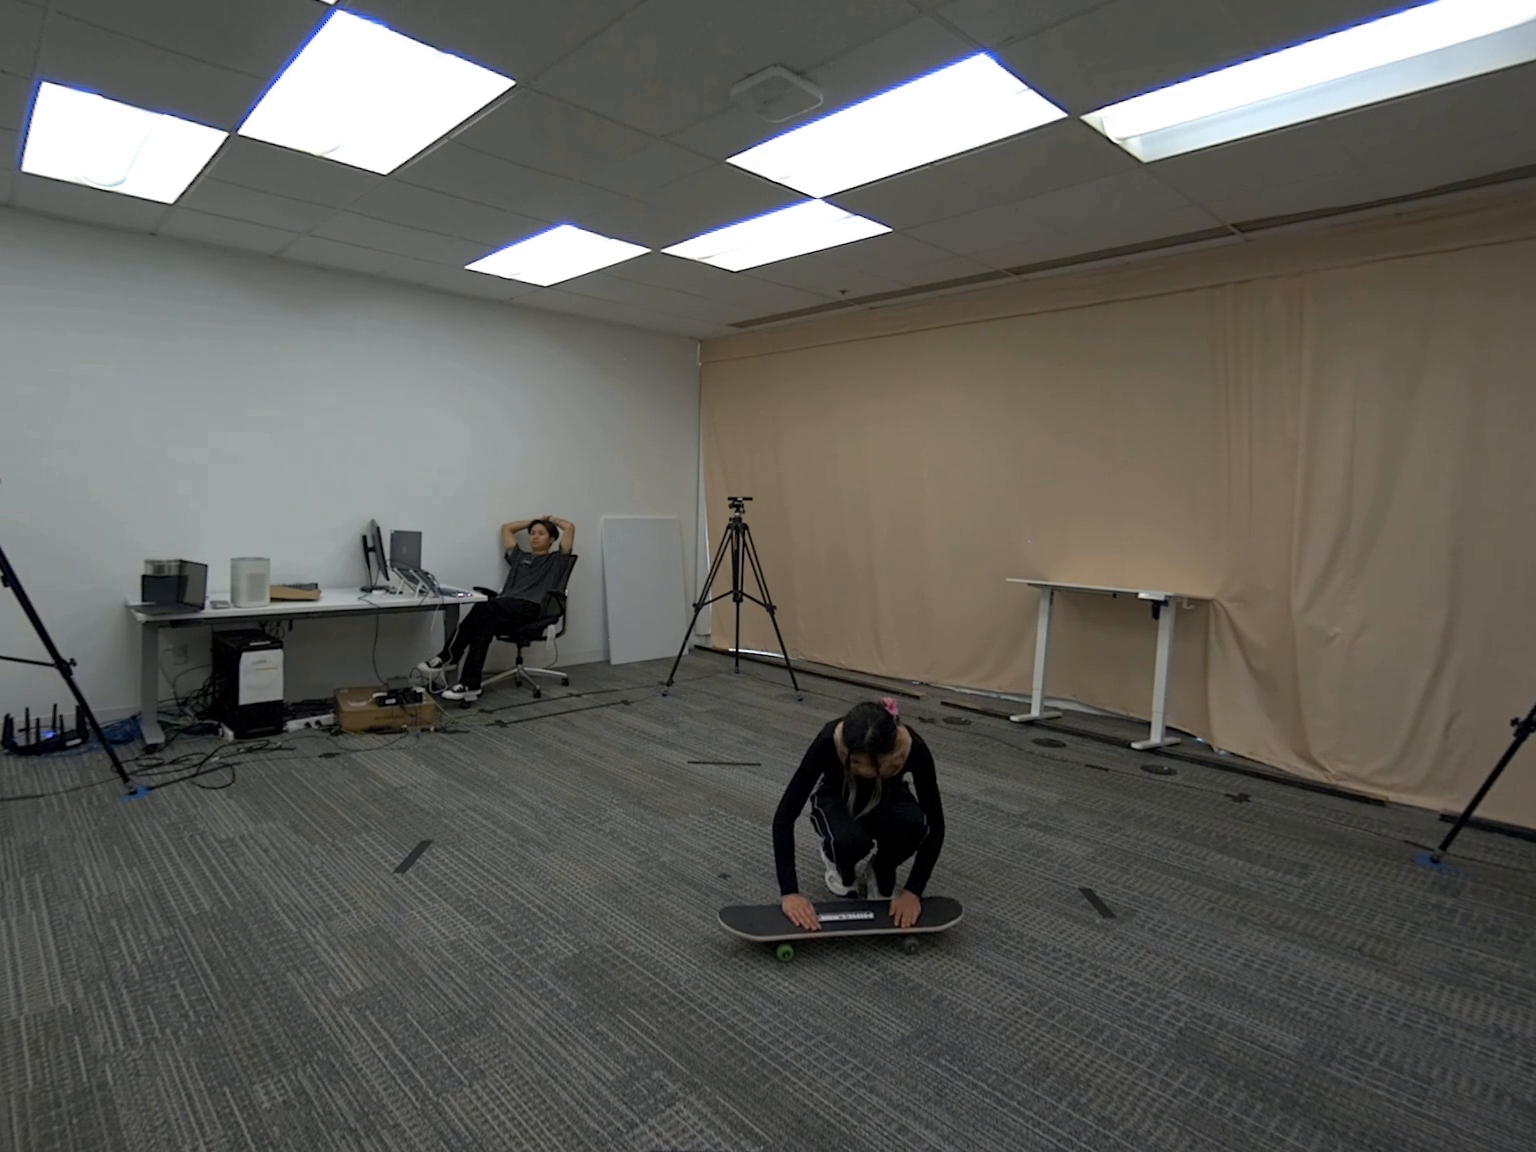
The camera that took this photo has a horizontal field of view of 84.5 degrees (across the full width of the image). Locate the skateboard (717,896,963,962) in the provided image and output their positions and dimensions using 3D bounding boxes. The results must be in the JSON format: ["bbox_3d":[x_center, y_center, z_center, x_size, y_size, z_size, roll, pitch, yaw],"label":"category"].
[{"bbox_3d":[0.226,1.107,2.643,0.779,0.110,0.195,0,3,-10],"label":"skateboard"}]
